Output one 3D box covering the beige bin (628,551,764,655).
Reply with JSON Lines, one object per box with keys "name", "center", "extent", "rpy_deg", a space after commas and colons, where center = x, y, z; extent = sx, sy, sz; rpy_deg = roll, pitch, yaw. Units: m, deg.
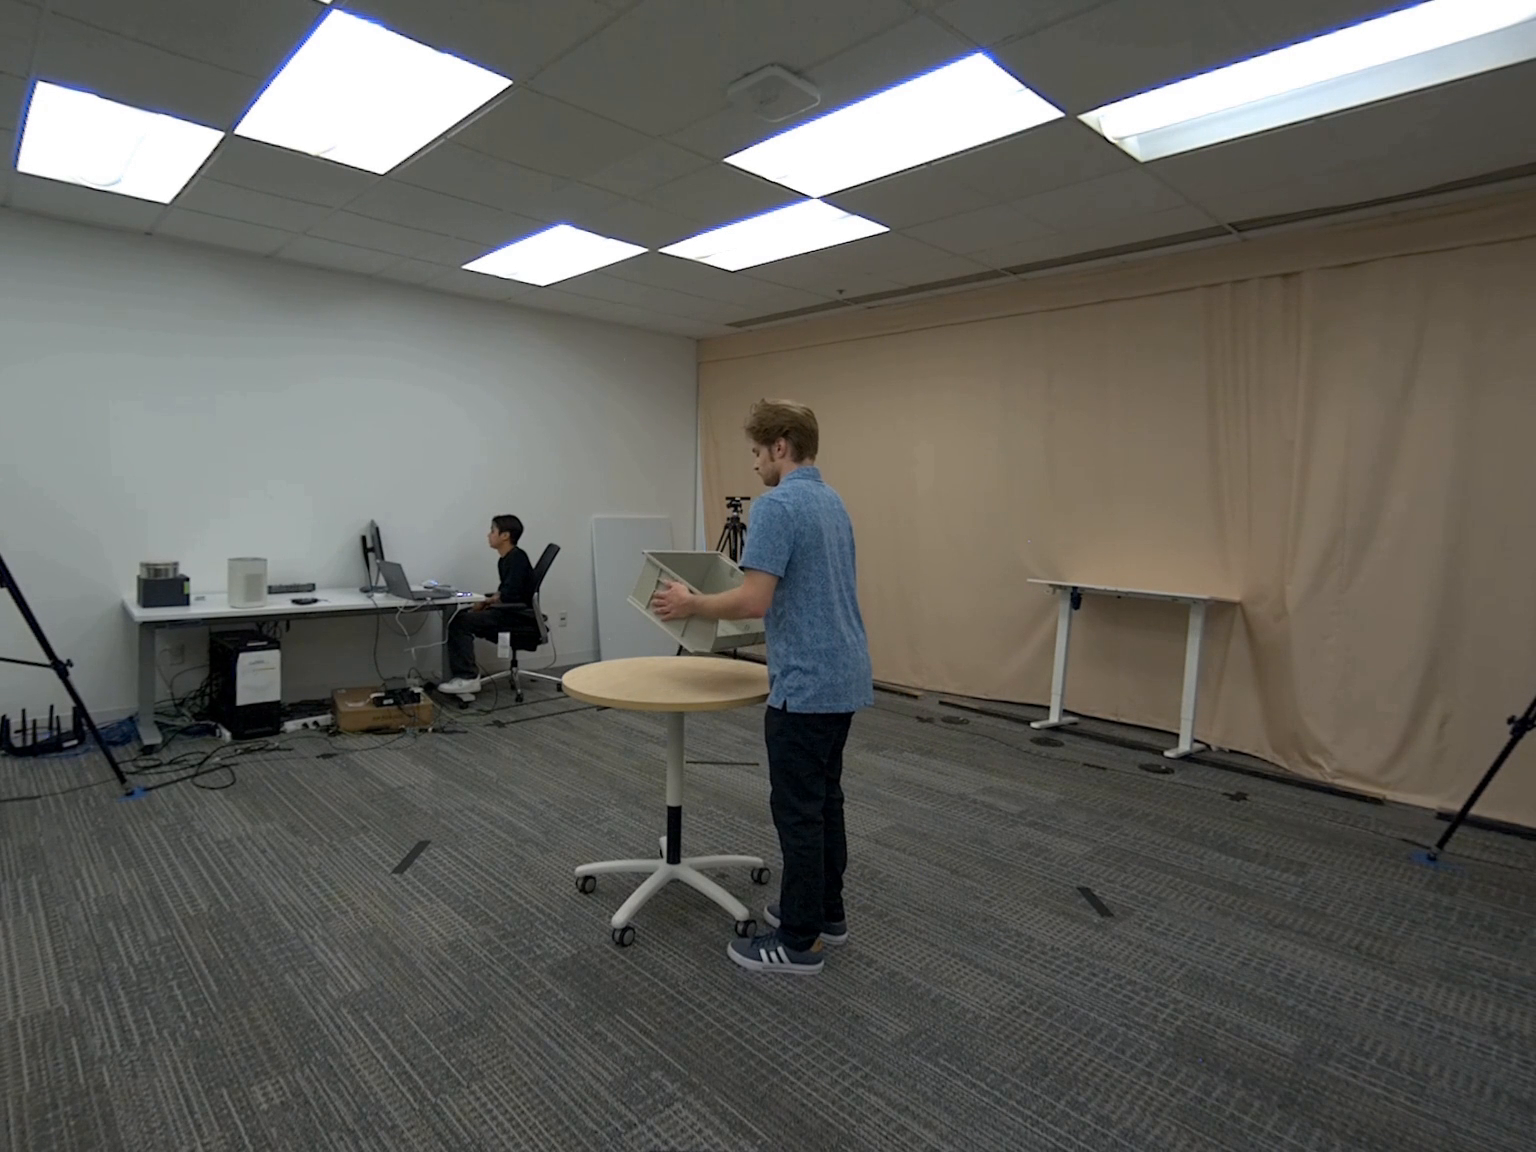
{"name": "beige bin", "center": [-0.192, 0.090, 2.796], "extent": [0.388, 0.188, 0.413], "rpy_deg": [33, 18, 29]}
